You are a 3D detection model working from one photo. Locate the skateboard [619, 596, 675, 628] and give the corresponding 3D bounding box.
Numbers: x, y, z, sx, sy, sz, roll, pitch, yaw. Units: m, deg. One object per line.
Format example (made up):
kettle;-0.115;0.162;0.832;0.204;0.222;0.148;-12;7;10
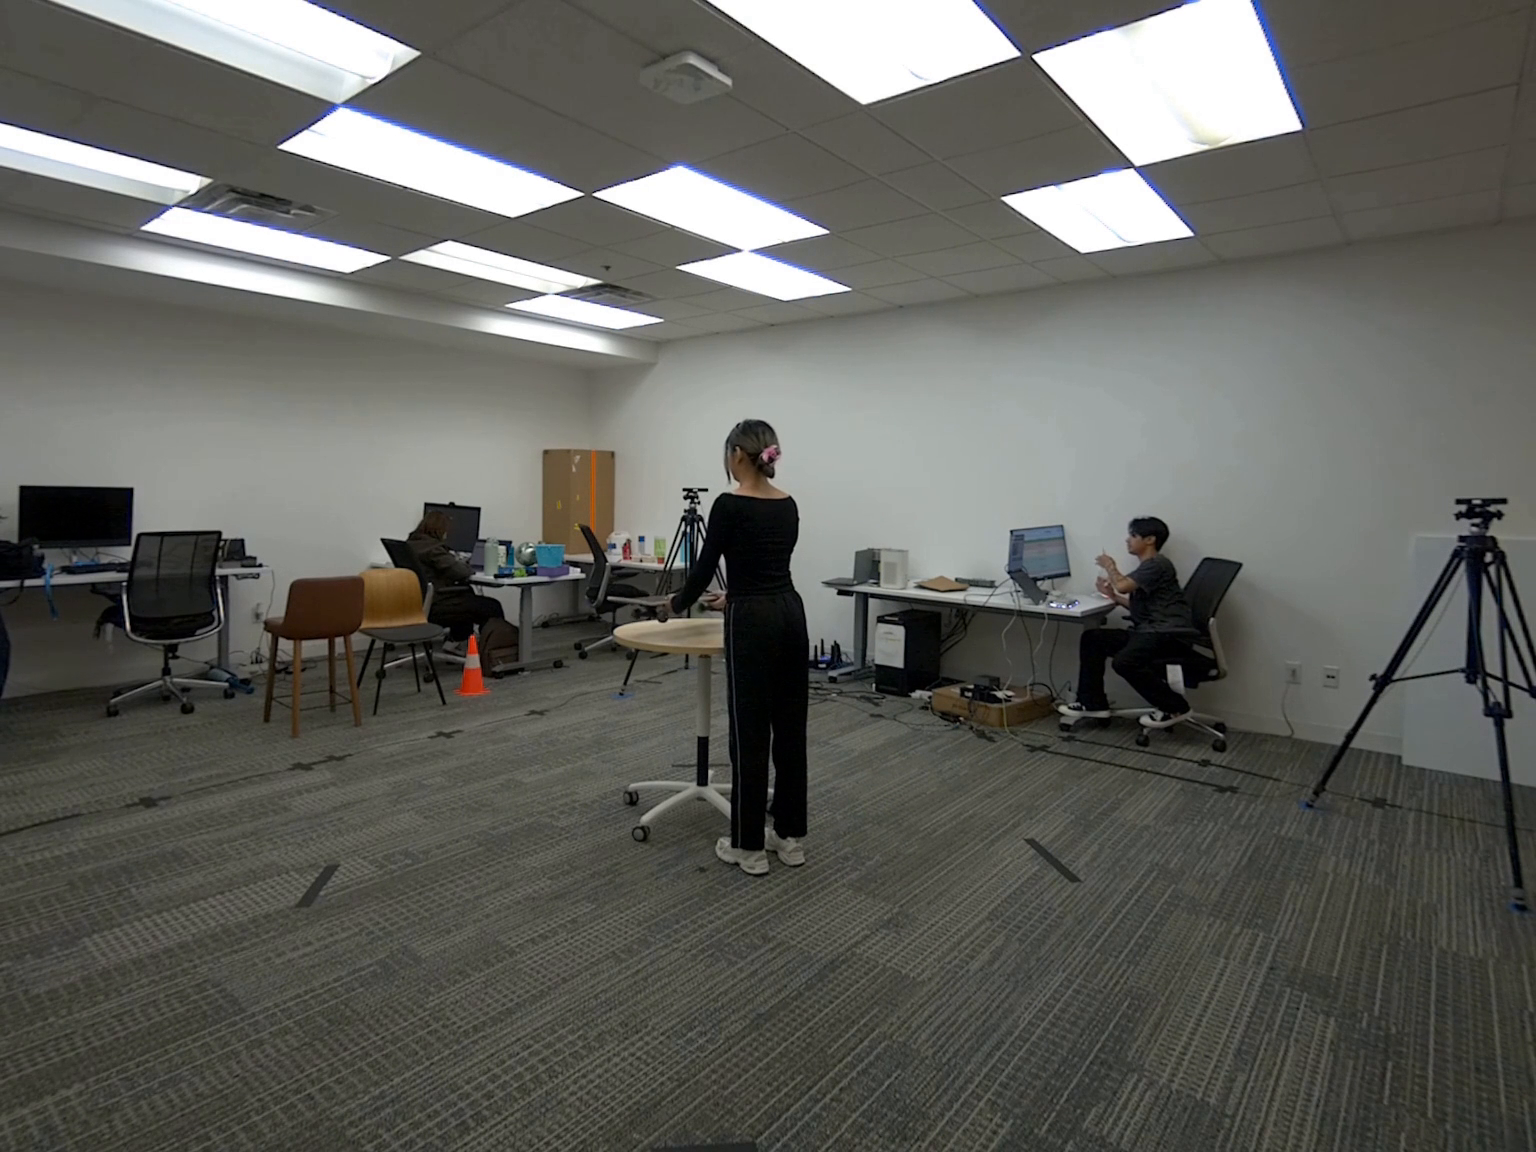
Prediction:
skateboard;-0.373;0.117;3.598;0.199;0.110;0.761;-1;1;39
